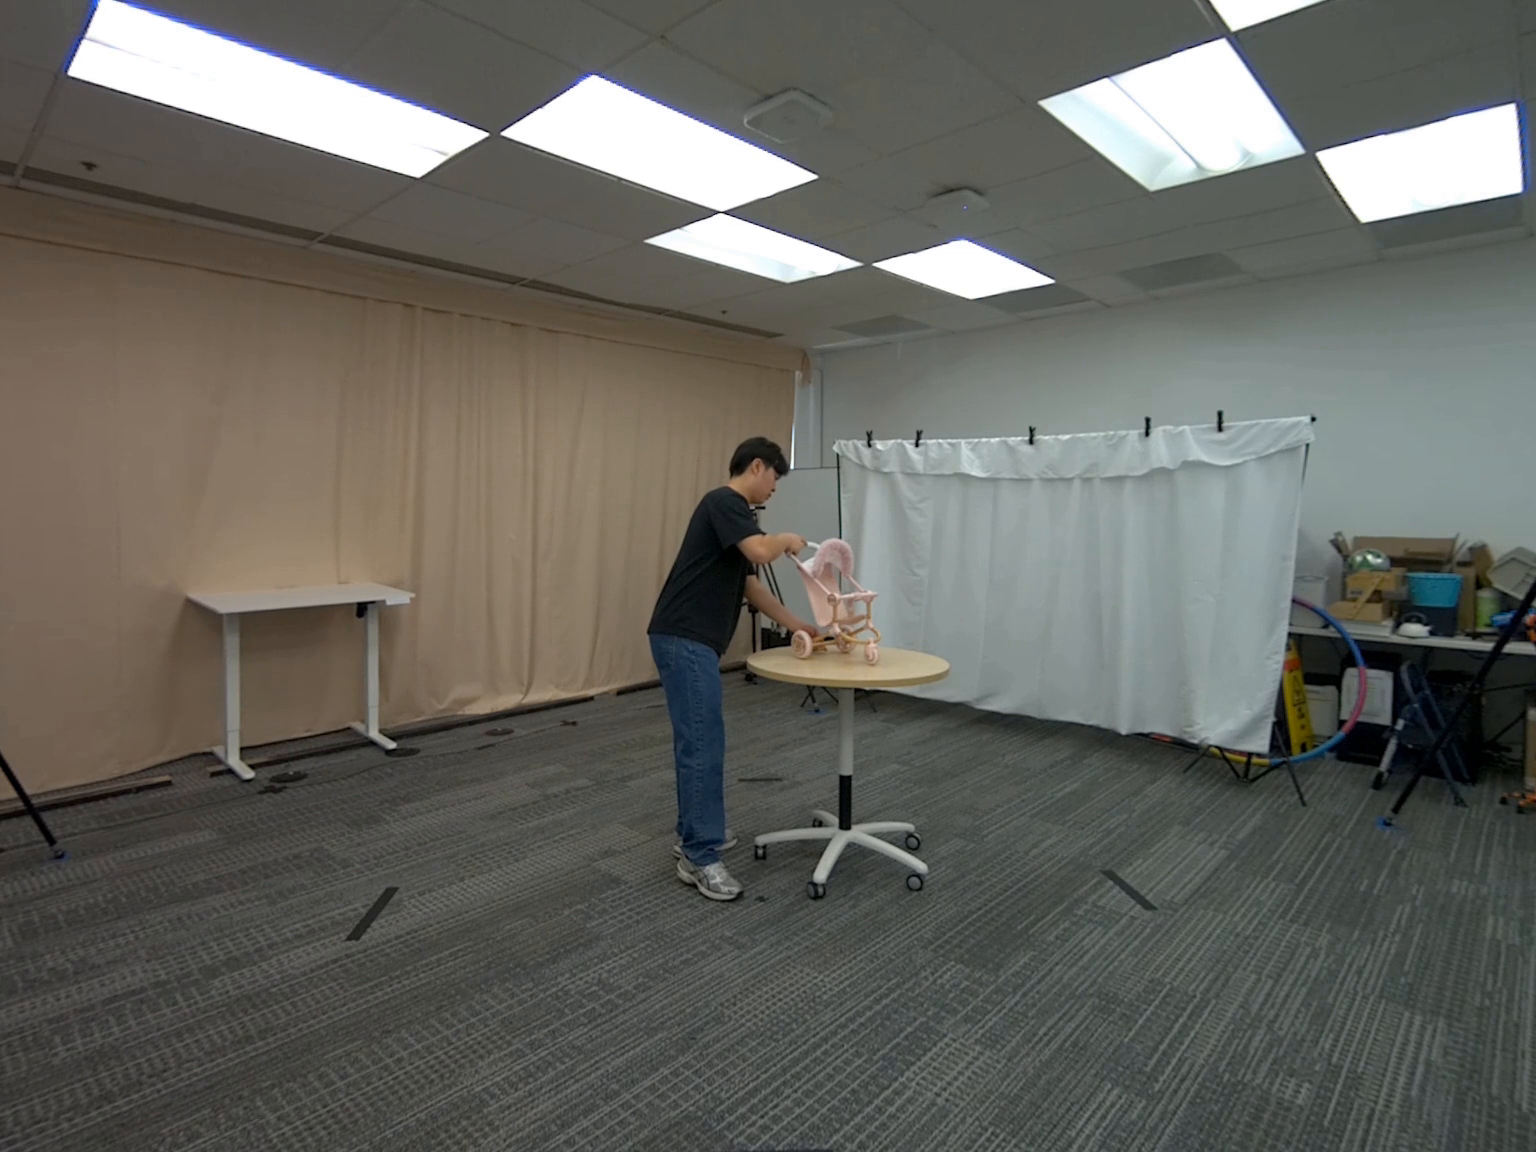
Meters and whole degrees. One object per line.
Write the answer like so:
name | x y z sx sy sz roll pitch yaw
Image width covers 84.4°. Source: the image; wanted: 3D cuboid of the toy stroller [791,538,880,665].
toy stroller | 0.272 0.096 3.275 0.273 0.538 0.349 -2 -10 -37
